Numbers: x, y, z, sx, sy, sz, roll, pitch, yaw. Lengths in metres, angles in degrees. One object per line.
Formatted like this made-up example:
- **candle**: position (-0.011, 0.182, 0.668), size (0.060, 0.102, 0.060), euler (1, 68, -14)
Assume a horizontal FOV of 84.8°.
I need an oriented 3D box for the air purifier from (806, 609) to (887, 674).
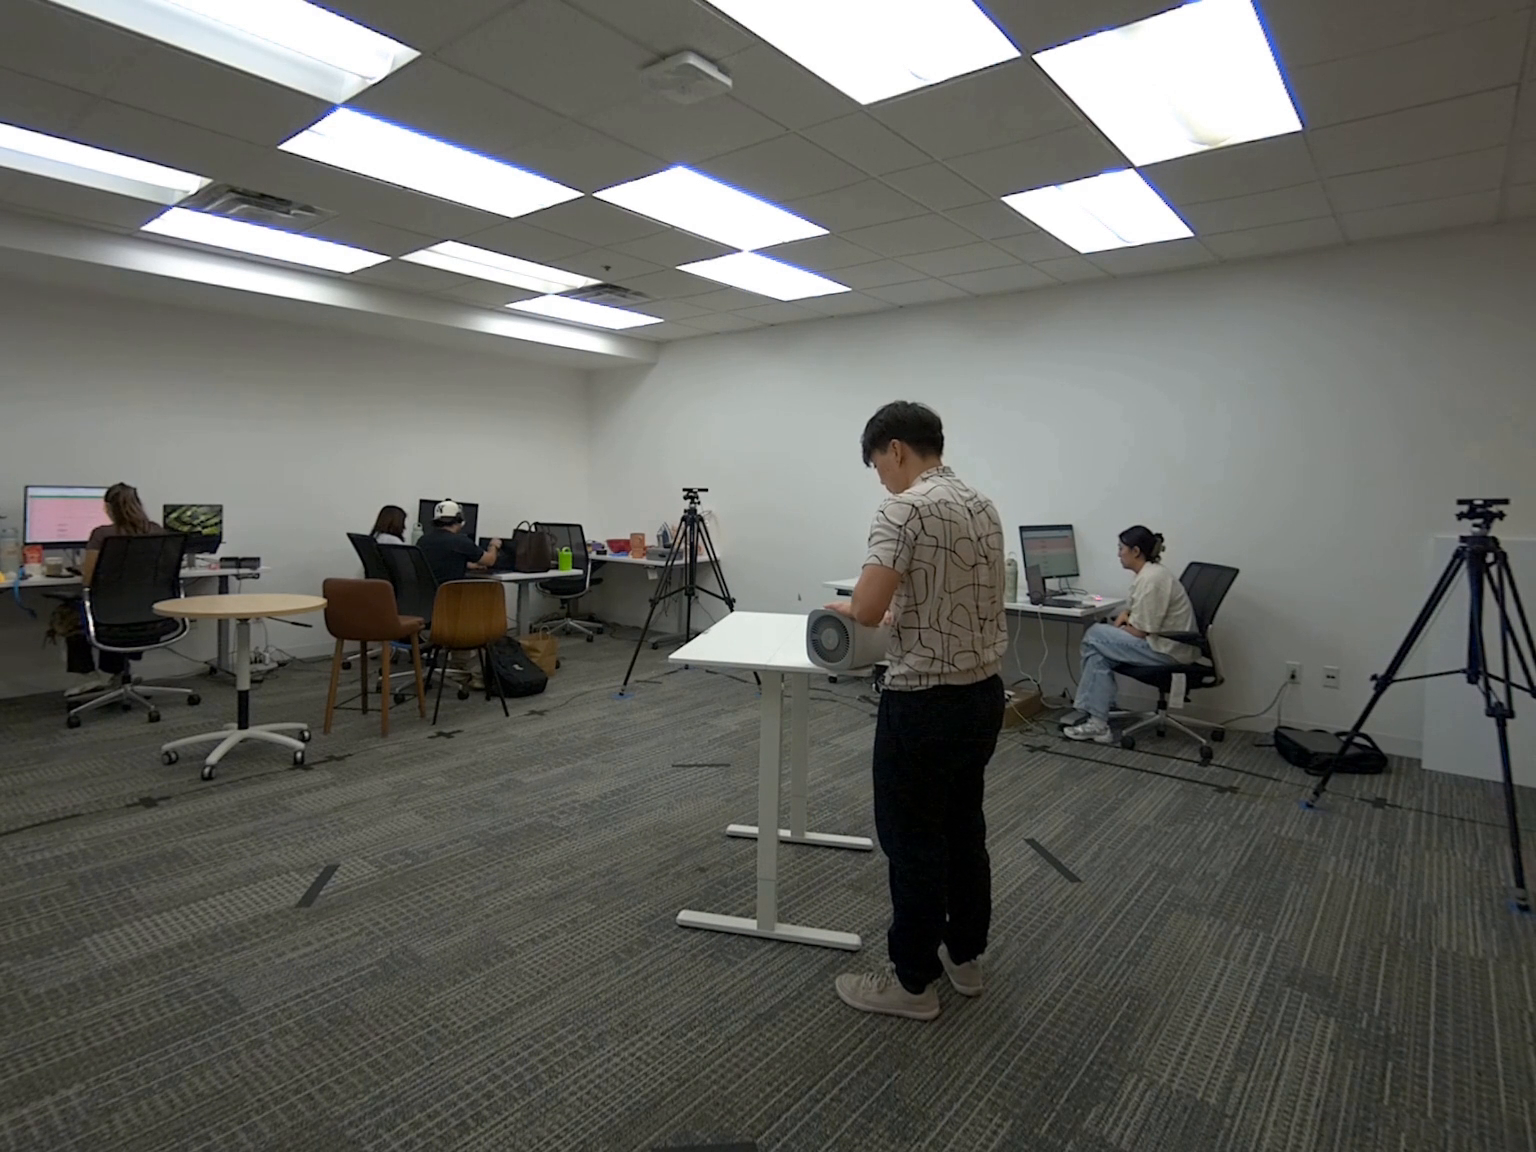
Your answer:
- **air purifier**: position (0.258, 0.167, 2.526), size (0.177, 0.171, 0.257), euler (4, 5, 43)
